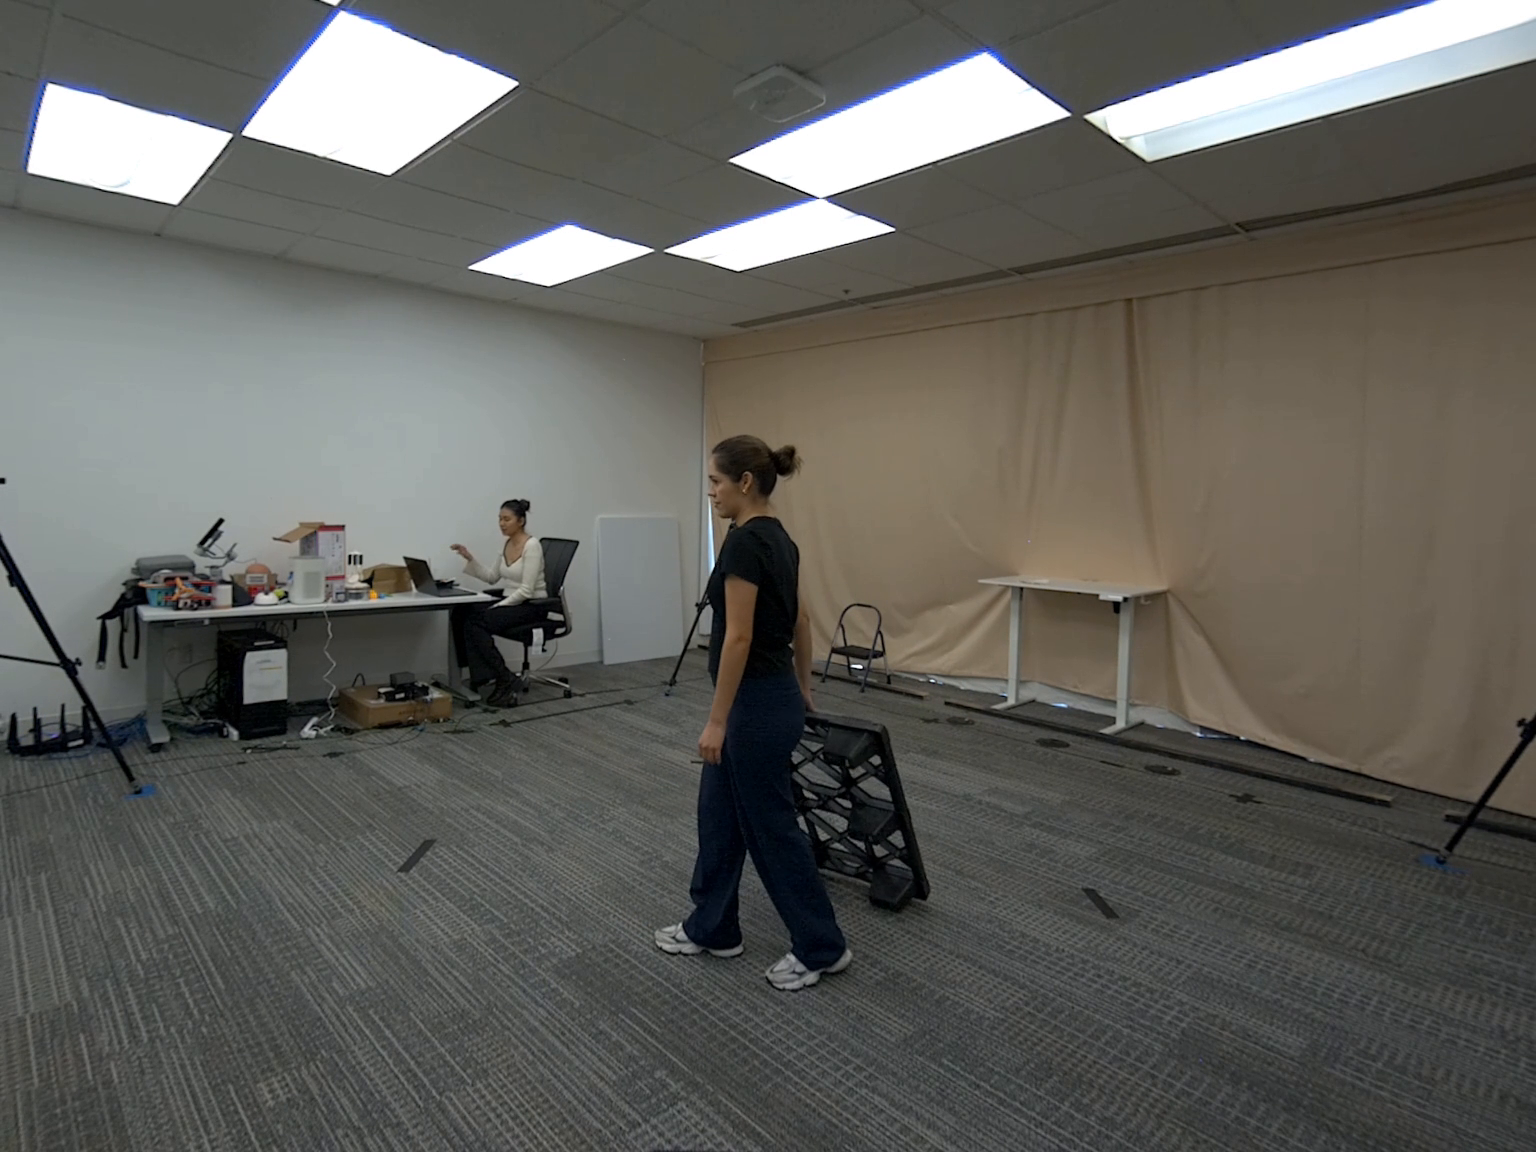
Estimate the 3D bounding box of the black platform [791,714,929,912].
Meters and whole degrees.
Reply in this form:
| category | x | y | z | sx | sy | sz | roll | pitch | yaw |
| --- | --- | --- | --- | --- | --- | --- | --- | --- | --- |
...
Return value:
| category | x | y | z | sx | sy | sz | roll | pitch | yaw |
| --- | --- | --- | --- | --- | --- | --- | --- | --- | --- |
| black platform | 0.176 | 0.786 | 2.848 | 0.619 | 0.787 | 0.143 | 4 | 35 | 34 |
